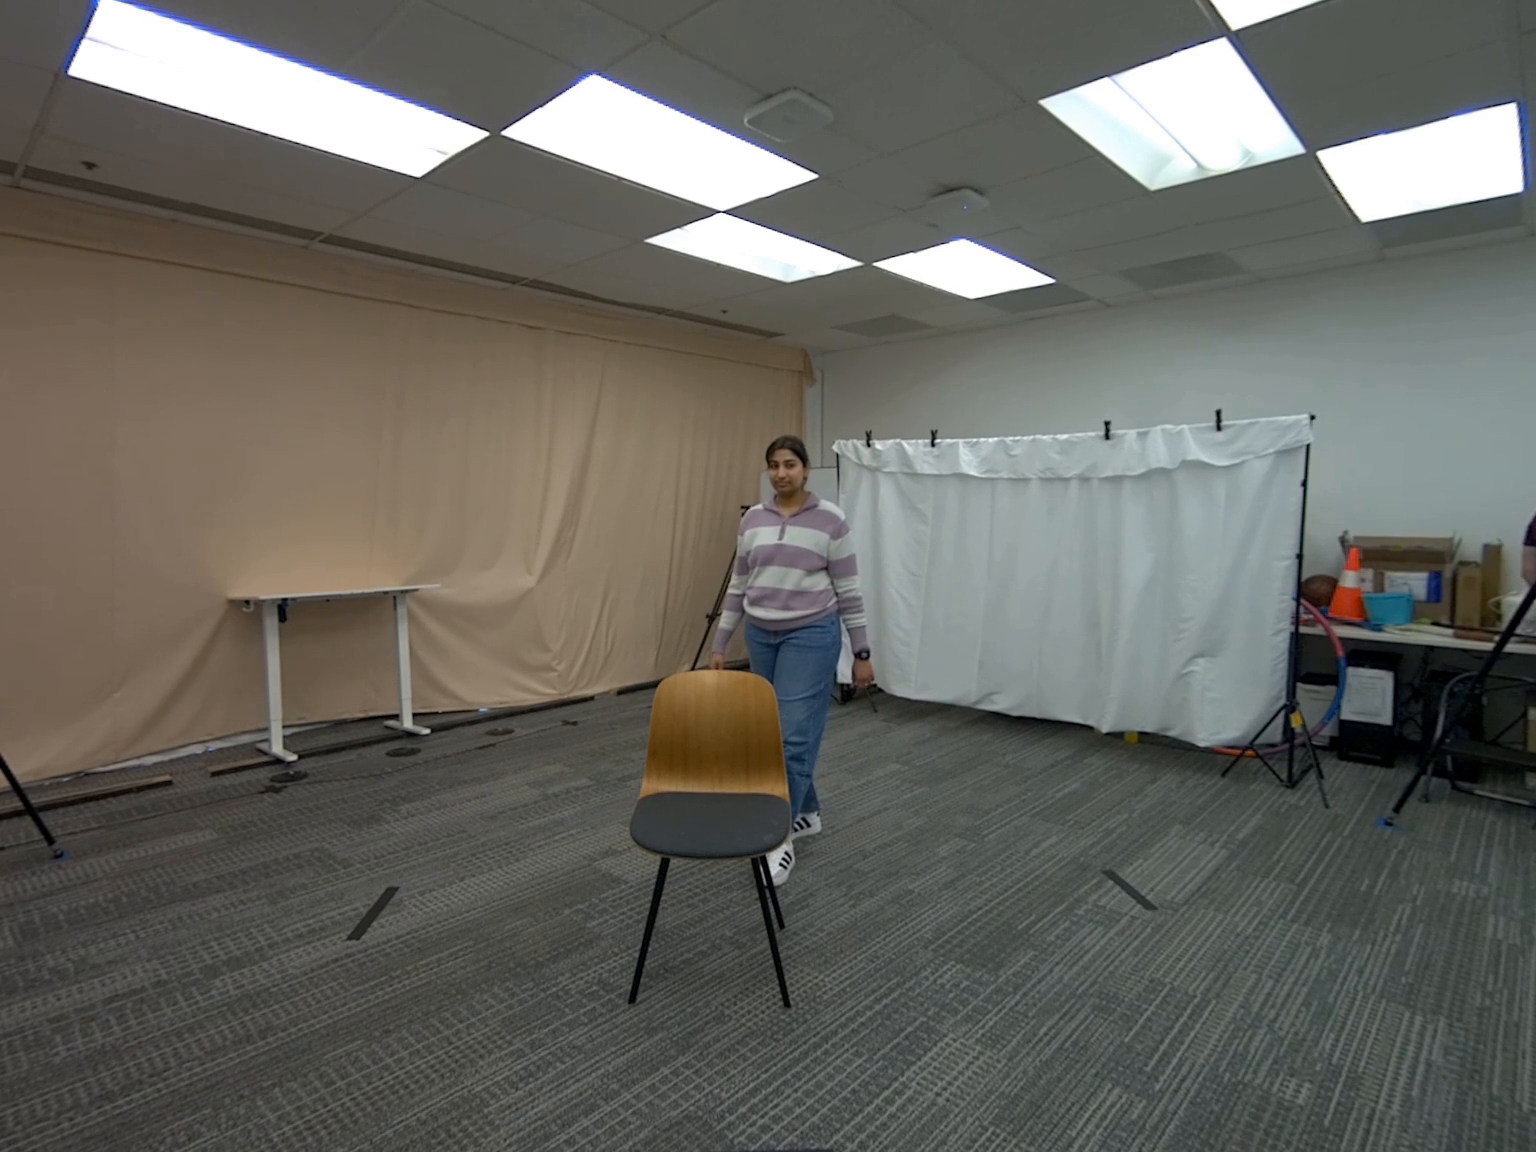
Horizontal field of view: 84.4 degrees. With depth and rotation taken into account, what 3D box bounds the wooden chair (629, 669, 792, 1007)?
[{"bbox_3d":[-0.160,0.755,2.535,0.479,0.877,0.522,1,0,0],"label":"wooden chair"}]
